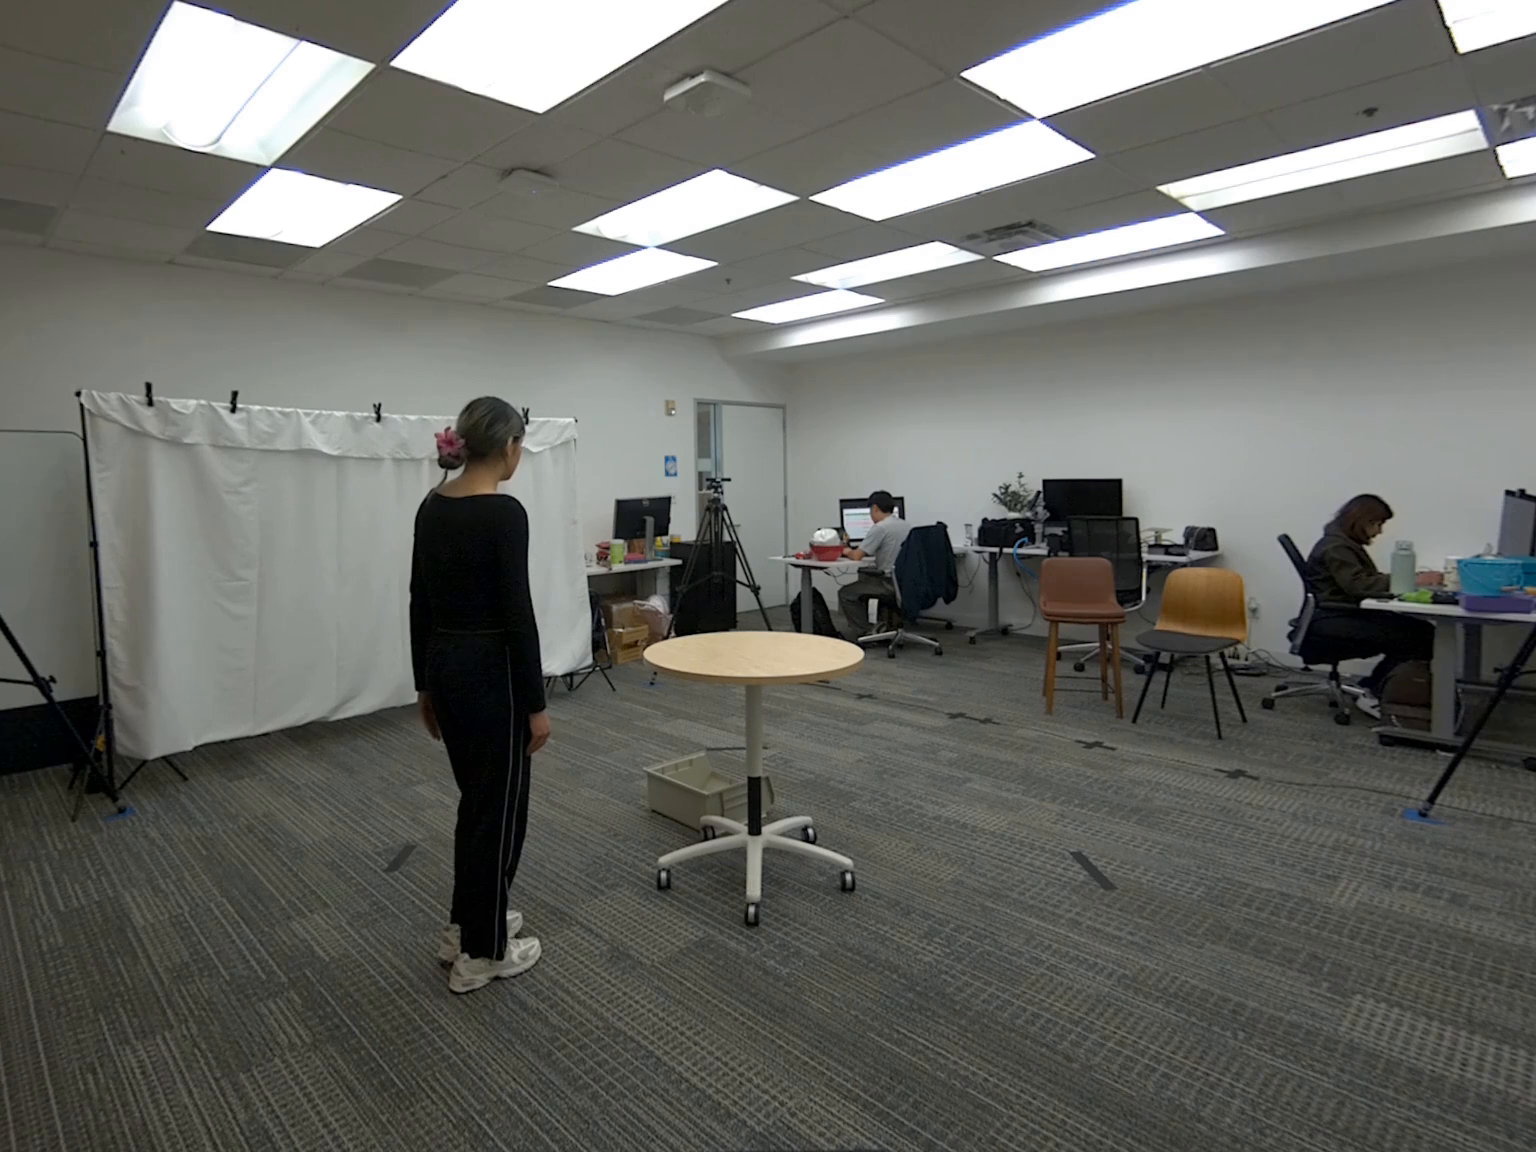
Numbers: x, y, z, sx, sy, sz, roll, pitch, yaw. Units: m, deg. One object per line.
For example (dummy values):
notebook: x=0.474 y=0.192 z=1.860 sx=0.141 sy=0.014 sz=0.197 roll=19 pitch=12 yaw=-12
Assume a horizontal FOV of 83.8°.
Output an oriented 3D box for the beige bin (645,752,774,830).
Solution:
beige bin: x=-0.247 y=0.905 z=3.591 sx=0.368 sy=0.188 sz=0.435 roll=-7 pitch=9 yaw=-43
